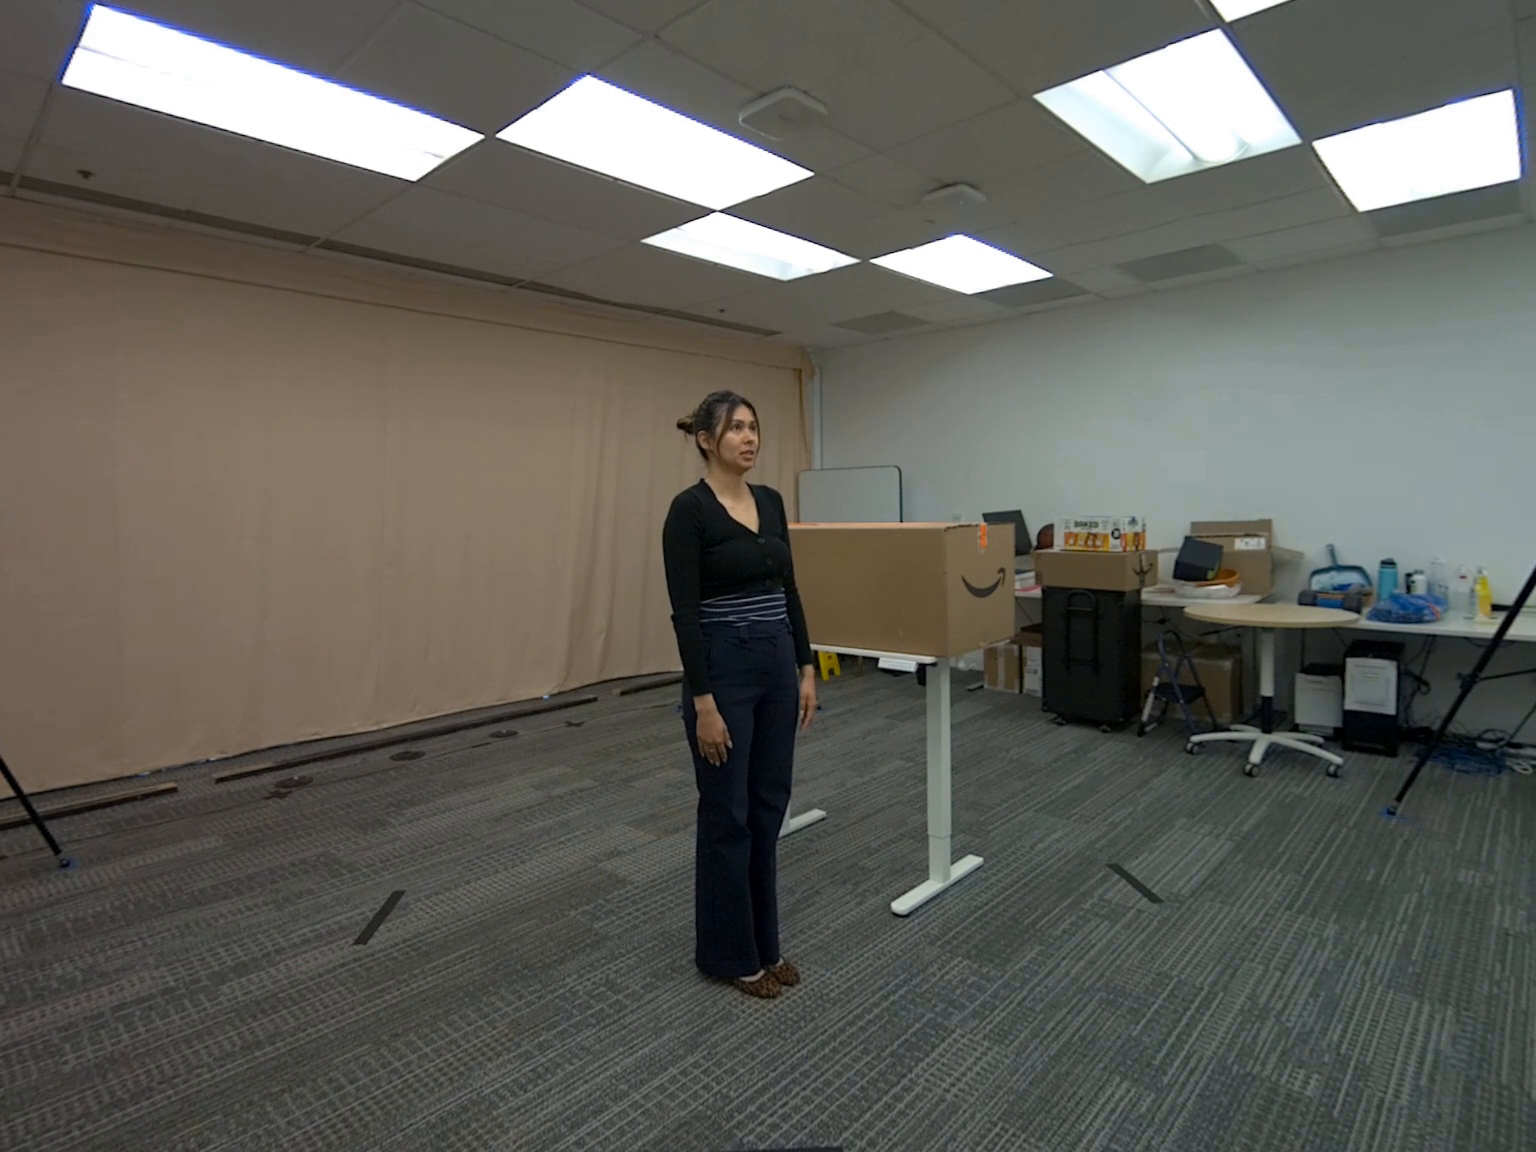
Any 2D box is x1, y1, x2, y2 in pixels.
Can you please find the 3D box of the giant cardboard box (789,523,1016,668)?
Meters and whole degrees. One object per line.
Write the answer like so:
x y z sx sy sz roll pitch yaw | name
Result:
0.322 0.018 3.222 1.059 0.425 0.560 2 4 39 | giant cardboard box
